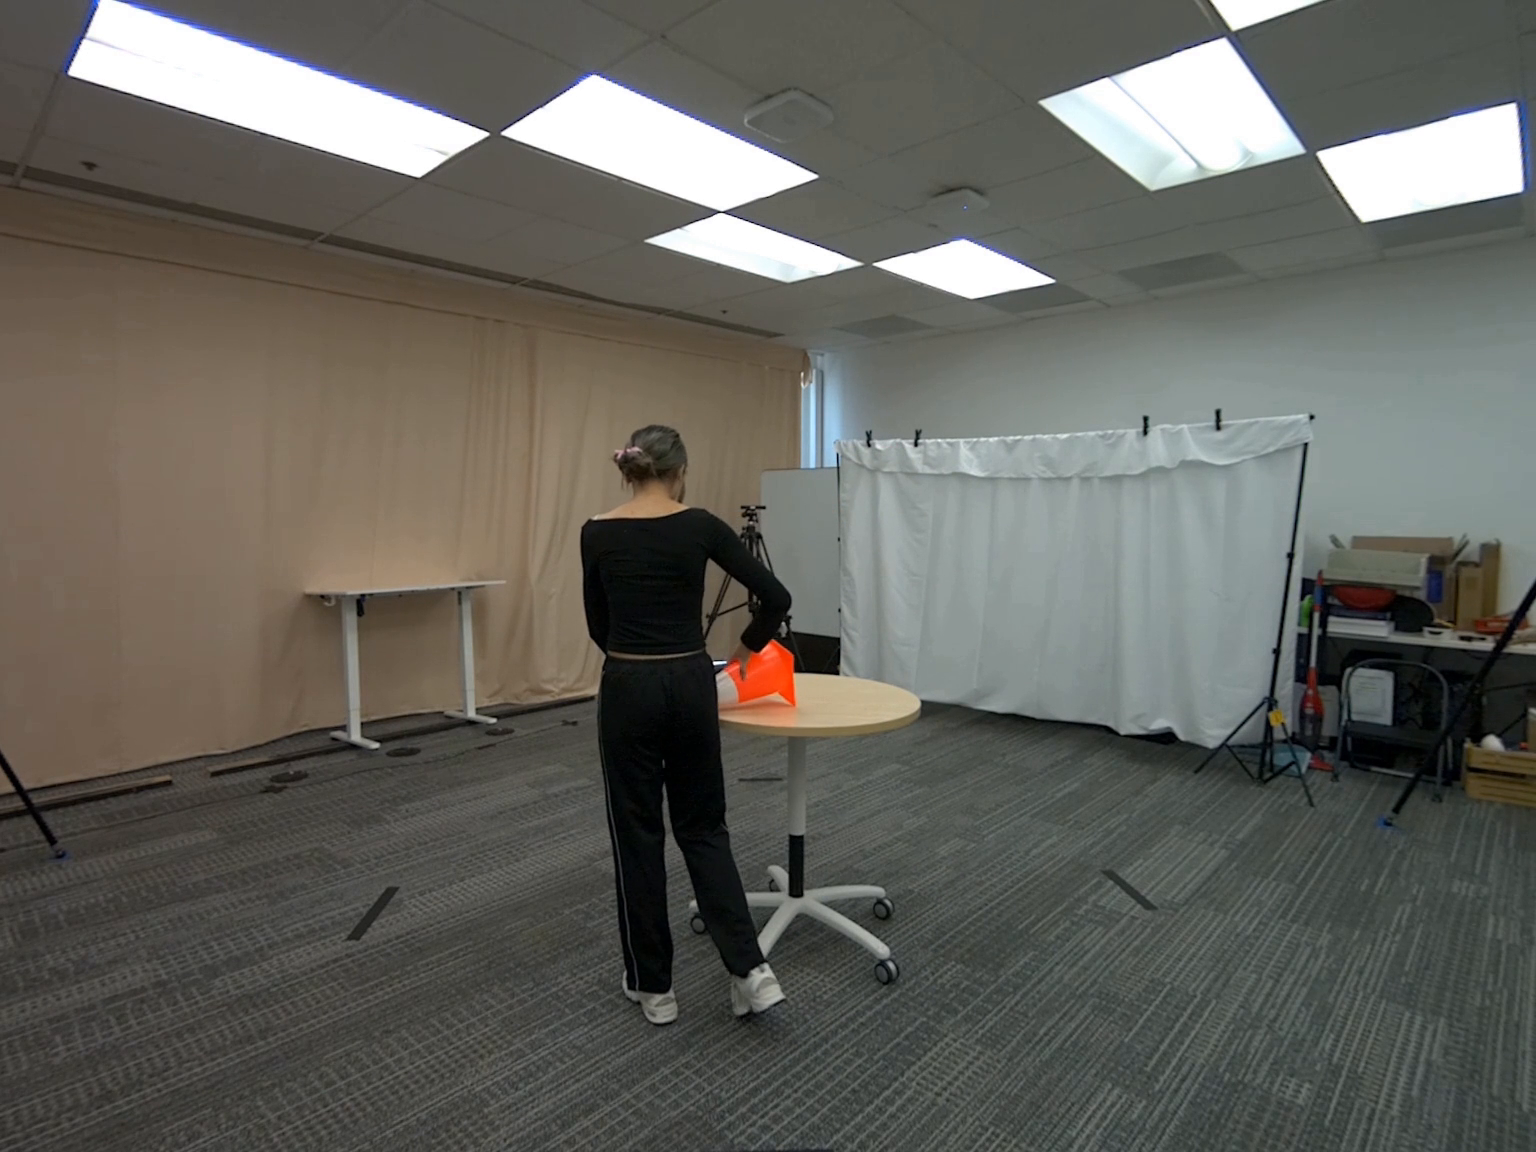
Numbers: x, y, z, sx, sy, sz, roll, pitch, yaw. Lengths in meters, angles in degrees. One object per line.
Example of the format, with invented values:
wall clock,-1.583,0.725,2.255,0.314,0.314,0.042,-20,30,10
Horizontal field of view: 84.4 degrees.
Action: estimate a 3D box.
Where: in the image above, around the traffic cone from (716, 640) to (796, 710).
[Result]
traffic cone,-0.128,0.343,2.495,0.377,0.201,0.211,-22,33,-23
